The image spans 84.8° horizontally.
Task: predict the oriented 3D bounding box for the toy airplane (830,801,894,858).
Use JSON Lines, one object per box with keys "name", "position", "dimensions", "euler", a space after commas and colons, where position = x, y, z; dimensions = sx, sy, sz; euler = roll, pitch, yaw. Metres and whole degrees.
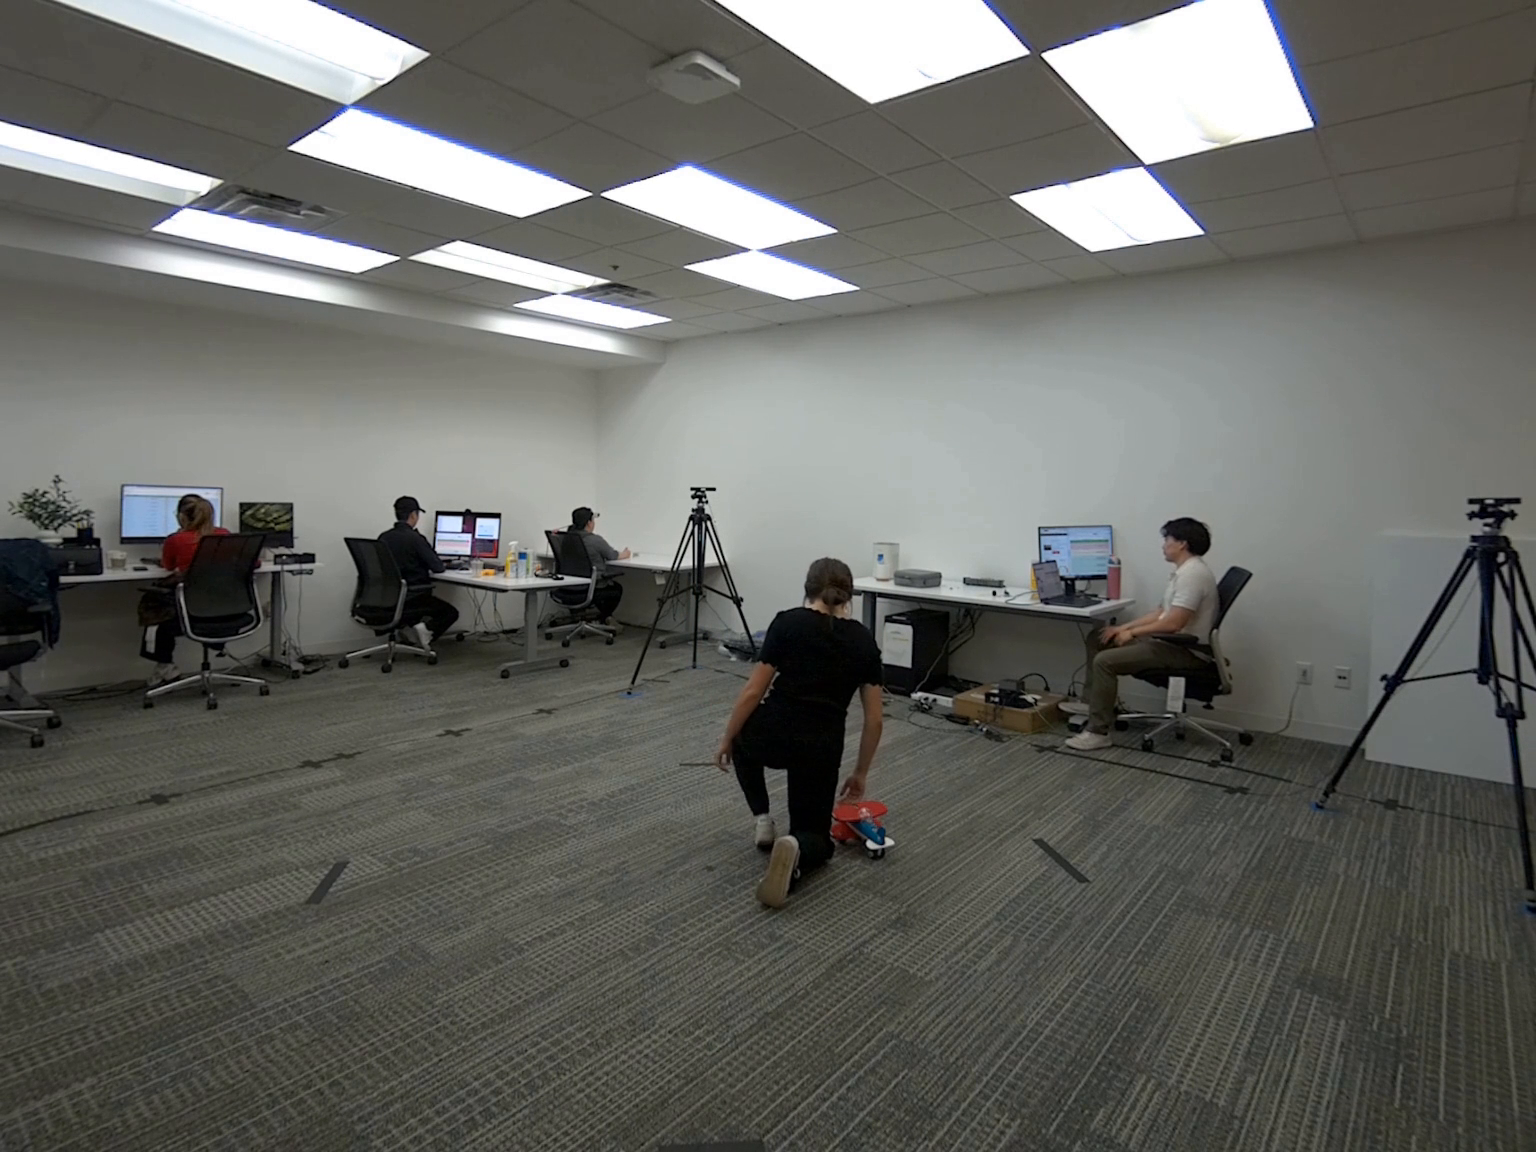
{"name": "toy airplane", "position": [0.375, 0.988, 3.323], "dimensions": [0.267, 0.156, 0.244], "euler": [4, 4, 32]}
